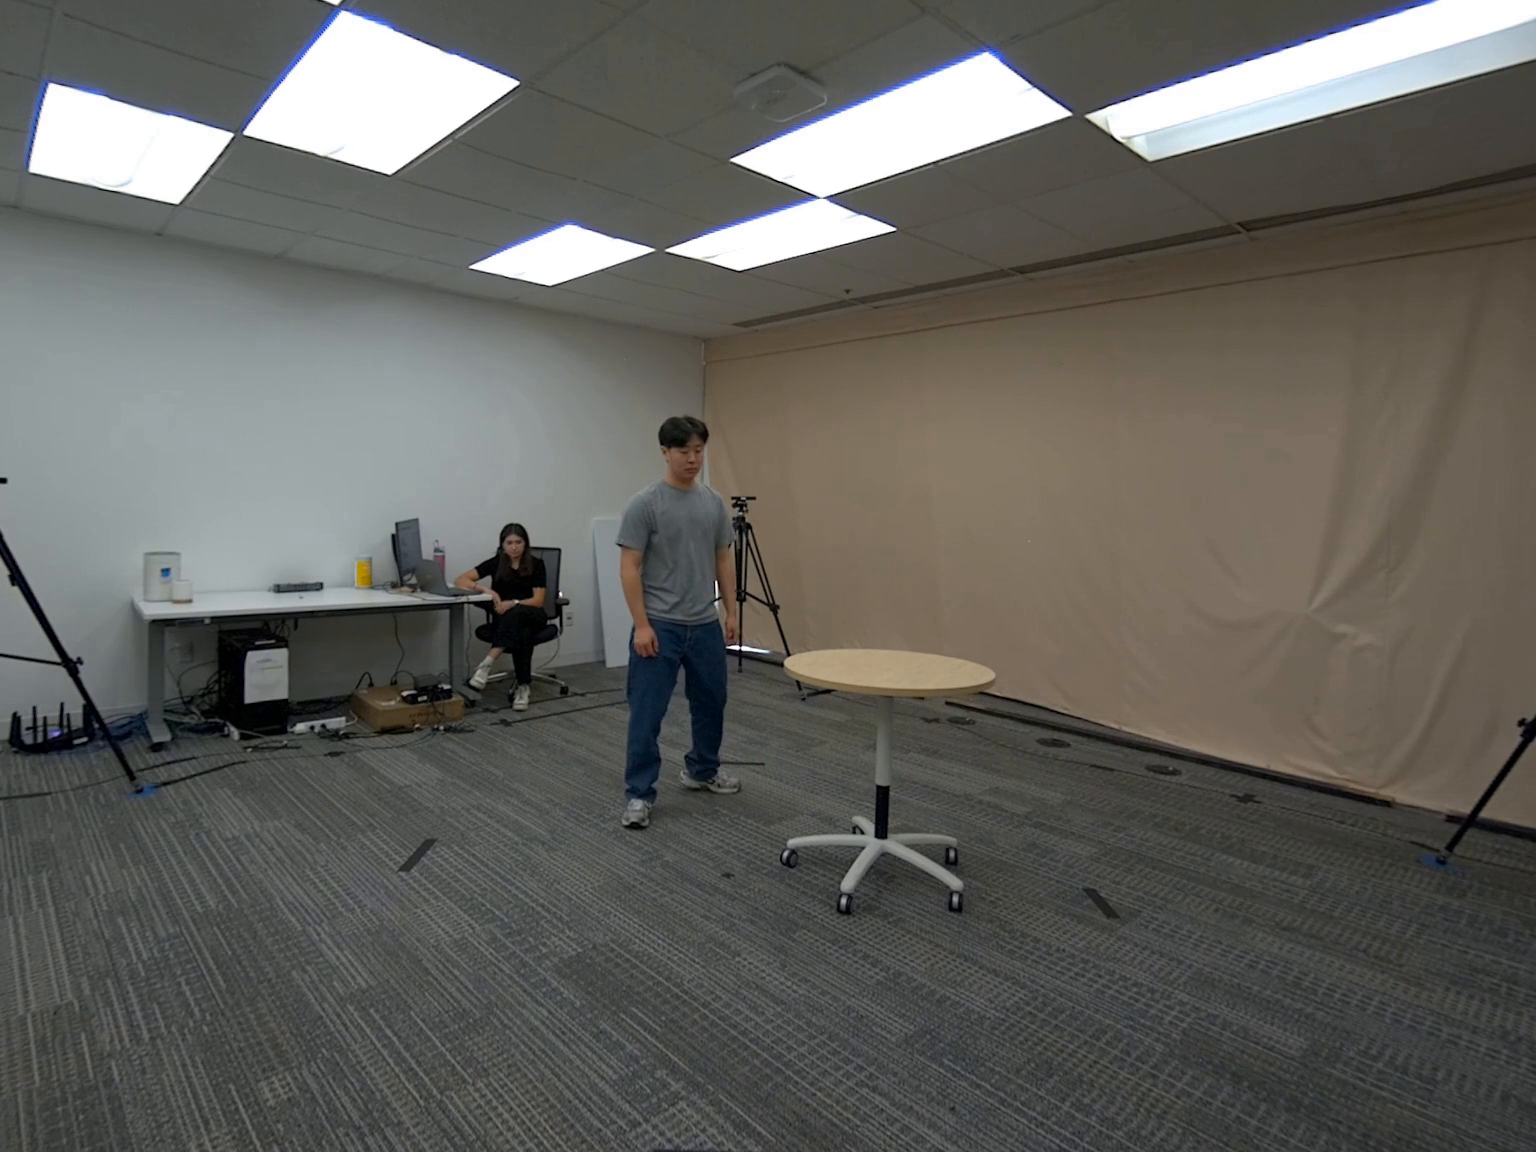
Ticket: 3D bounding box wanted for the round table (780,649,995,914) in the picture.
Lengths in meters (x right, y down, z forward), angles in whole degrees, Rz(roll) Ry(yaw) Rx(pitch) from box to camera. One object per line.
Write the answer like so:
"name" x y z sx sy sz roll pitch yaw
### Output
"round table" 0.419 0.730 3.129 0.763 0.792 0.766 2 4 -1
